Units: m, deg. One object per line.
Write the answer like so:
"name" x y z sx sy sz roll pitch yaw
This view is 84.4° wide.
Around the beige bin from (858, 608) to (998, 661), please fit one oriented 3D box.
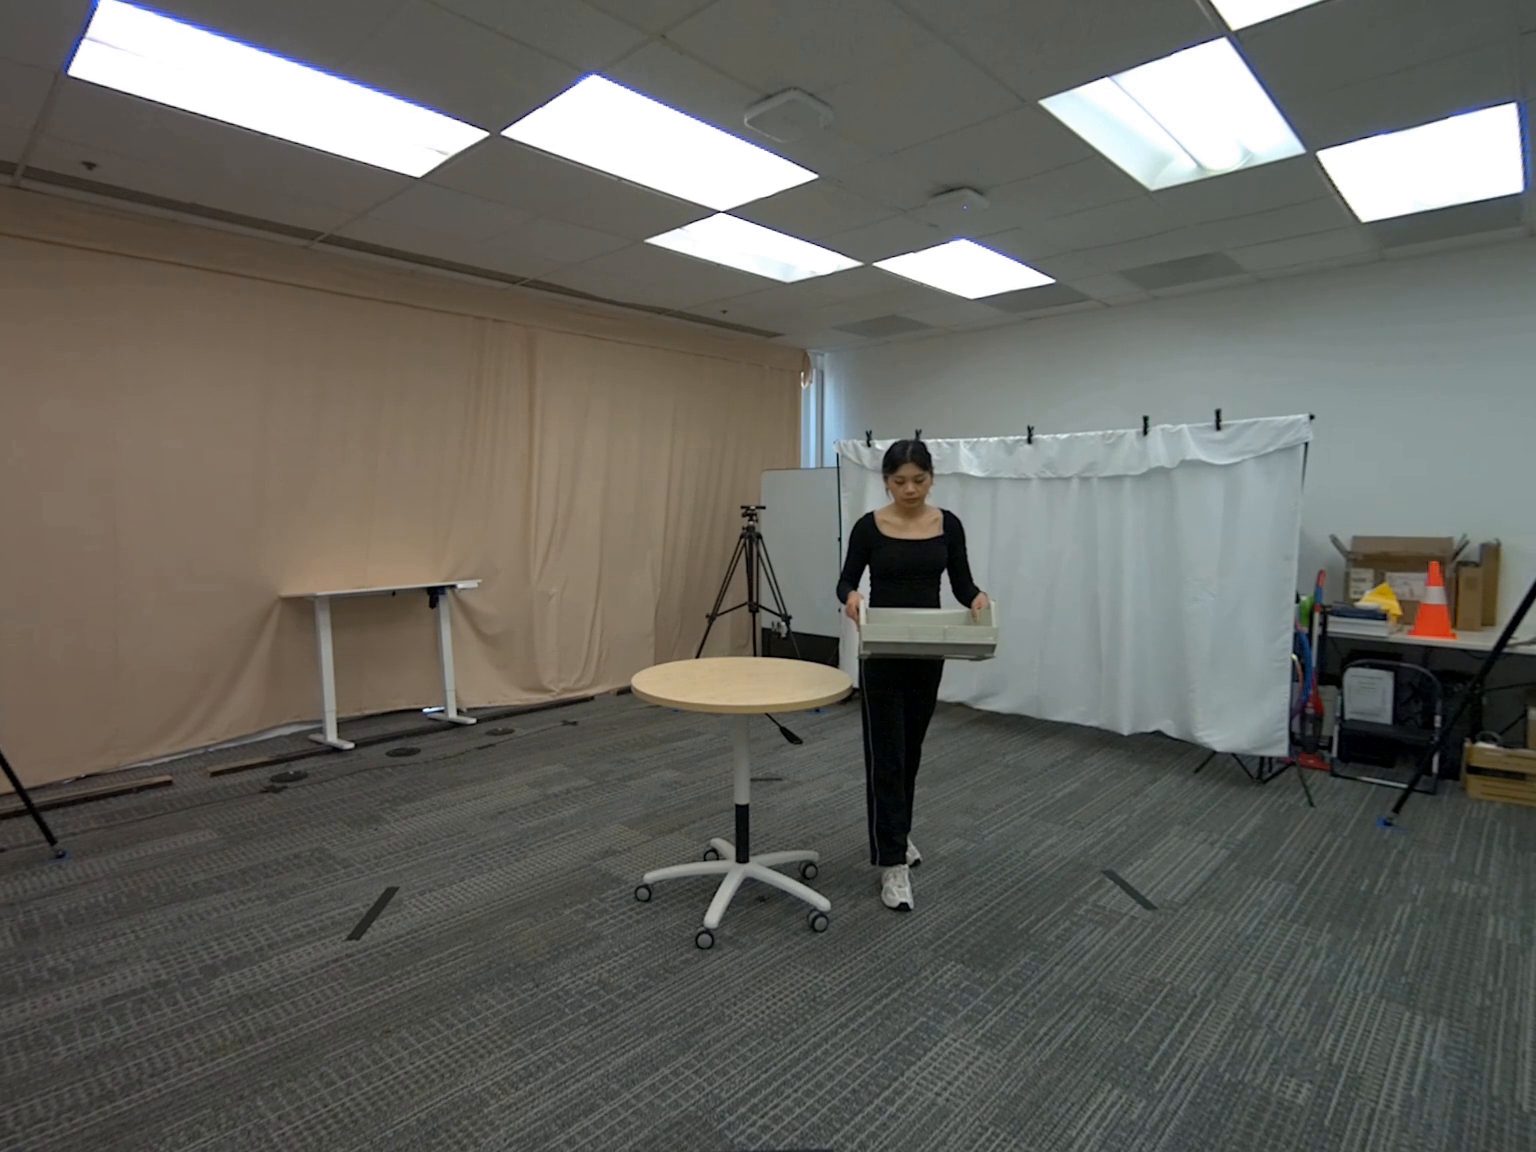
"beige bin" 0.508 0.187 2.762 0.426 0.190 0.372 2 -9 6
